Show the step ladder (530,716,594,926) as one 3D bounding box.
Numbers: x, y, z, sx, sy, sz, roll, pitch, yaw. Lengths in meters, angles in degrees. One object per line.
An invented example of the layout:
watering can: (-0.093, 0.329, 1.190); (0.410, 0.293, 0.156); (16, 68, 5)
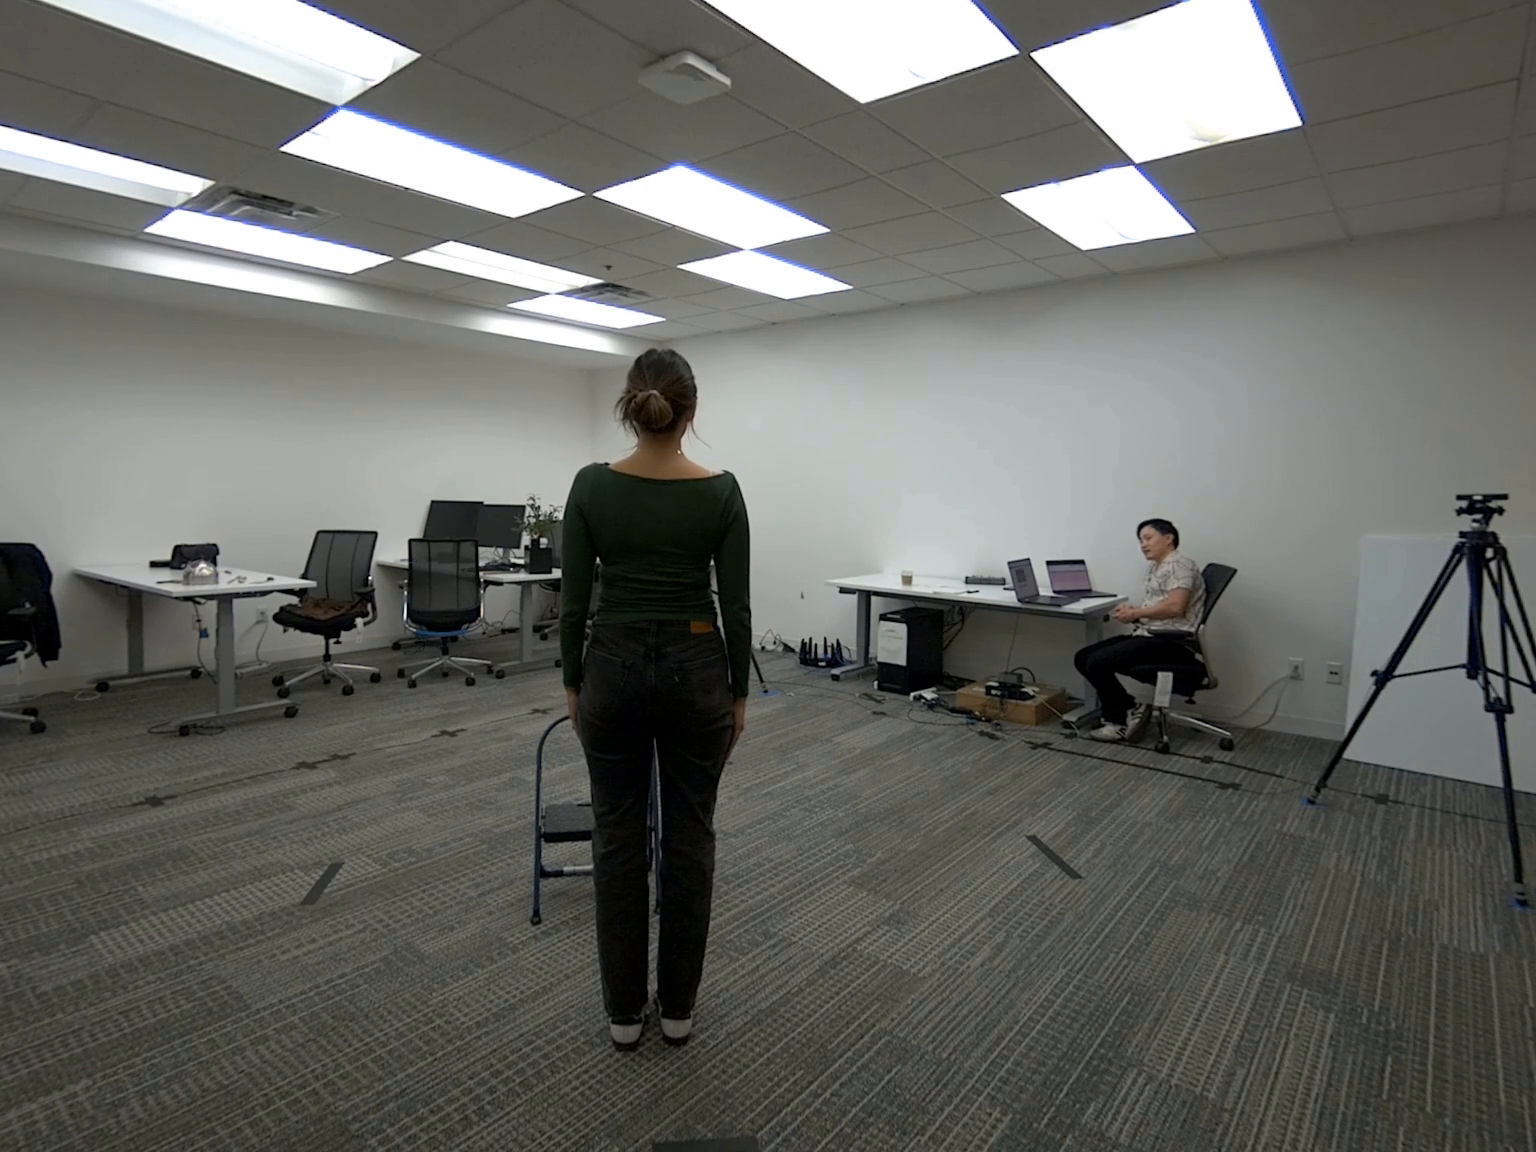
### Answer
step ladder: (-0.592, 0.784, 2.891); (0.425, 0.604, 0.355); (0, 3, -13)
